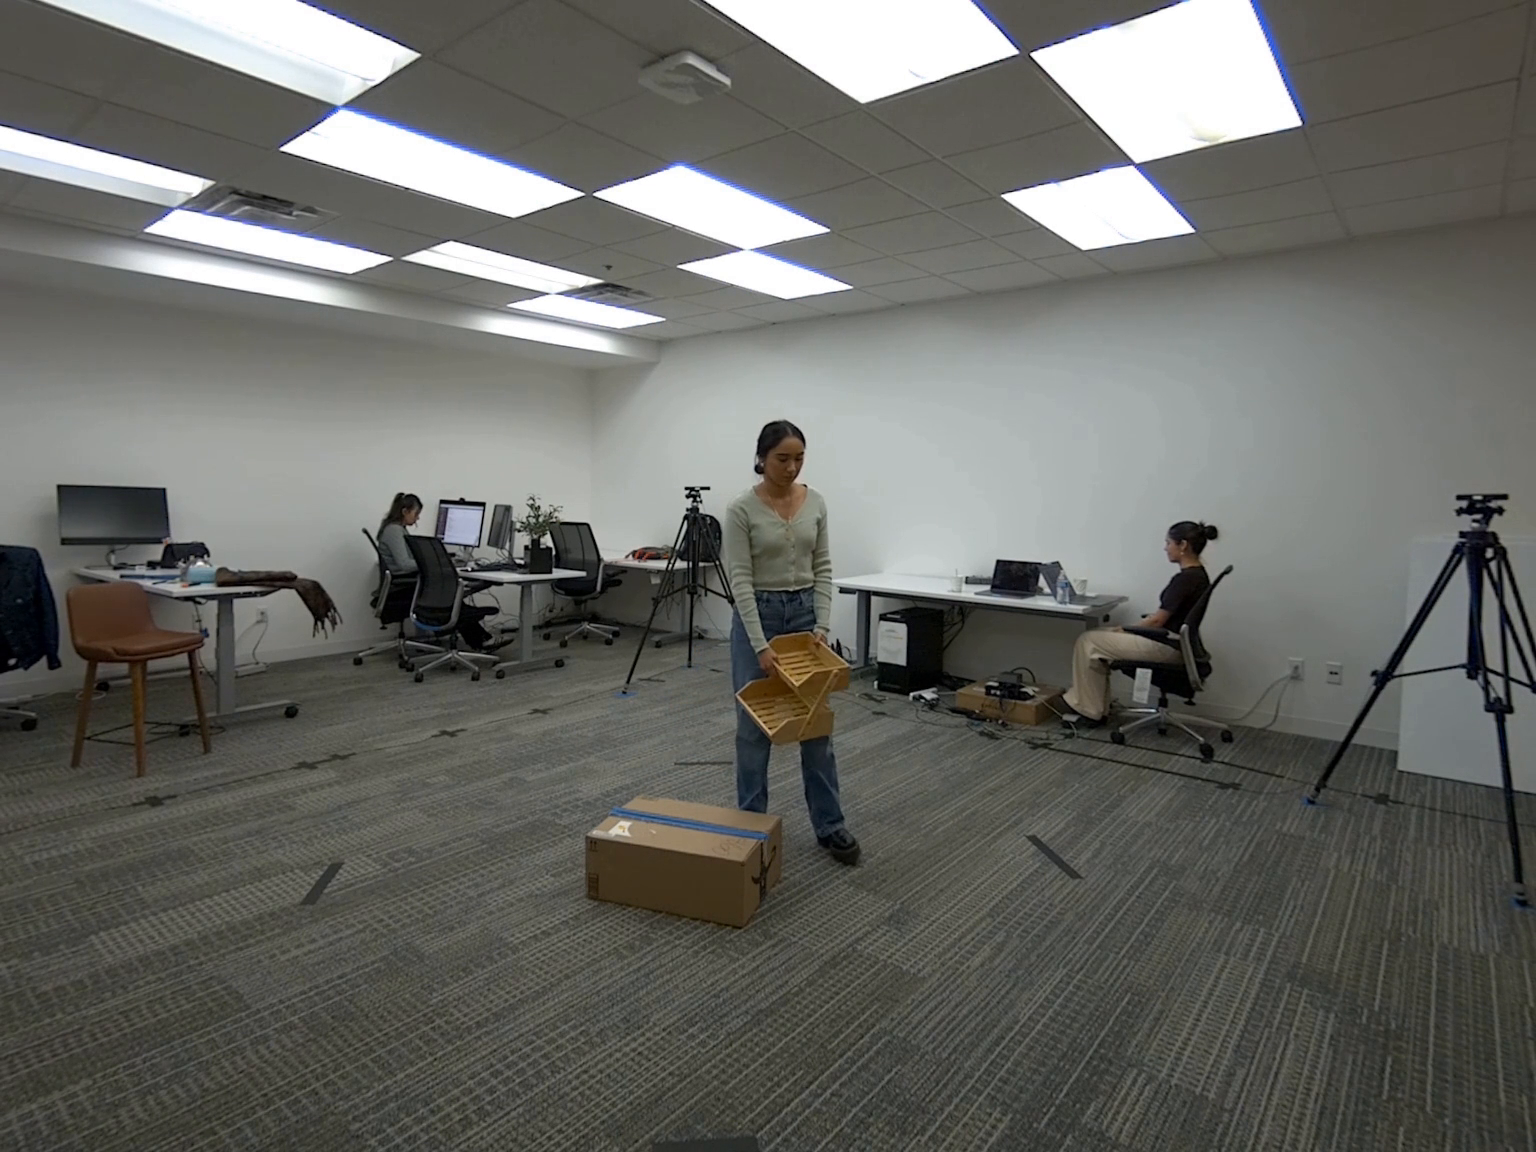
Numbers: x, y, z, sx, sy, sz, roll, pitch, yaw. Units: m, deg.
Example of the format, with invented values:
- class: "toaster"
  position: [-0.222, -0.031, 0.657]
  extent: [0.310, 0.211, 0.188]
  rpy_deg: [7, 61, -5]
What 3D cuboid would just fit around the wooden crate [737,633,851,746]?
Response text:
- class: "wooden crate"
  position: [0.073, 0.394, 3.075]
  extent: [0.296, 0.269, 0.337]
  rpy_deg: [-7, 22, -24]
